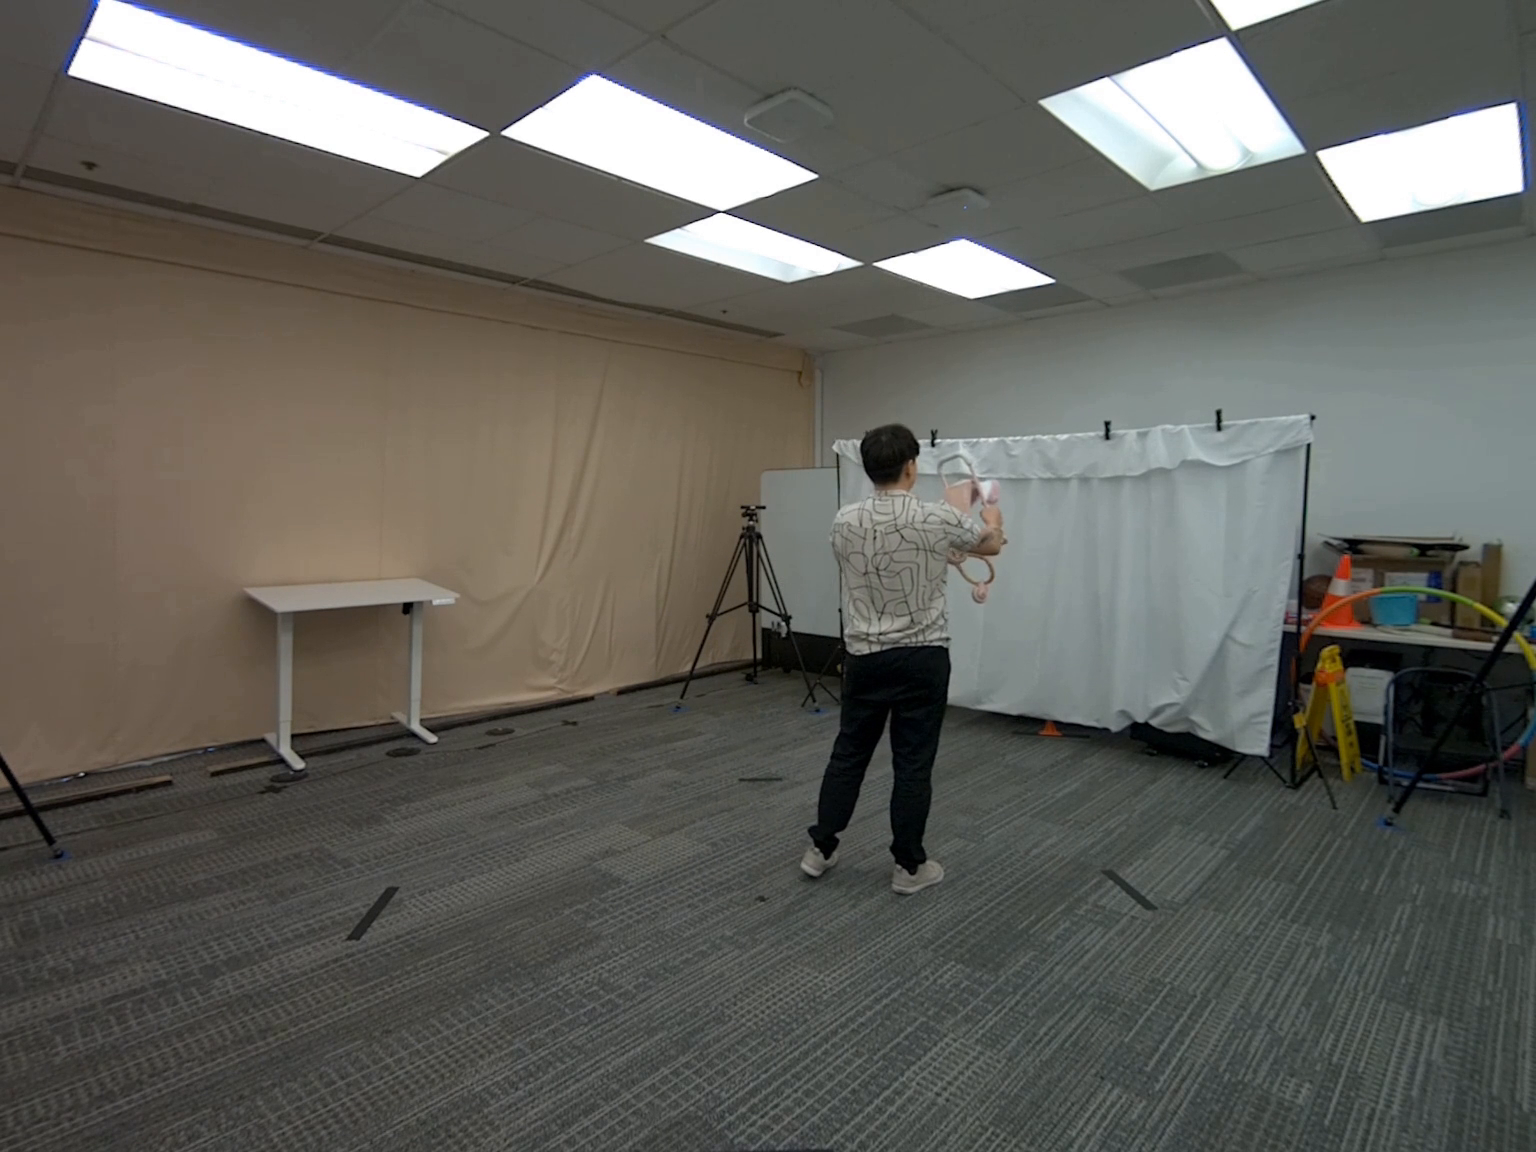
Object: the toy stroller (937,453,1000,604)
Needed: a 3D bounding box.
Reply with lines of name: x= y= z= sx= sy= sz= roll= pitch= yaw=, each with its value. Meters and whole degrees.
toy stroller: x=0.806 y=-0.187 z=3.389 sx=0.336 sy=0.537 sz=0.285 roll=23 pitch=-17 yaw=-15
